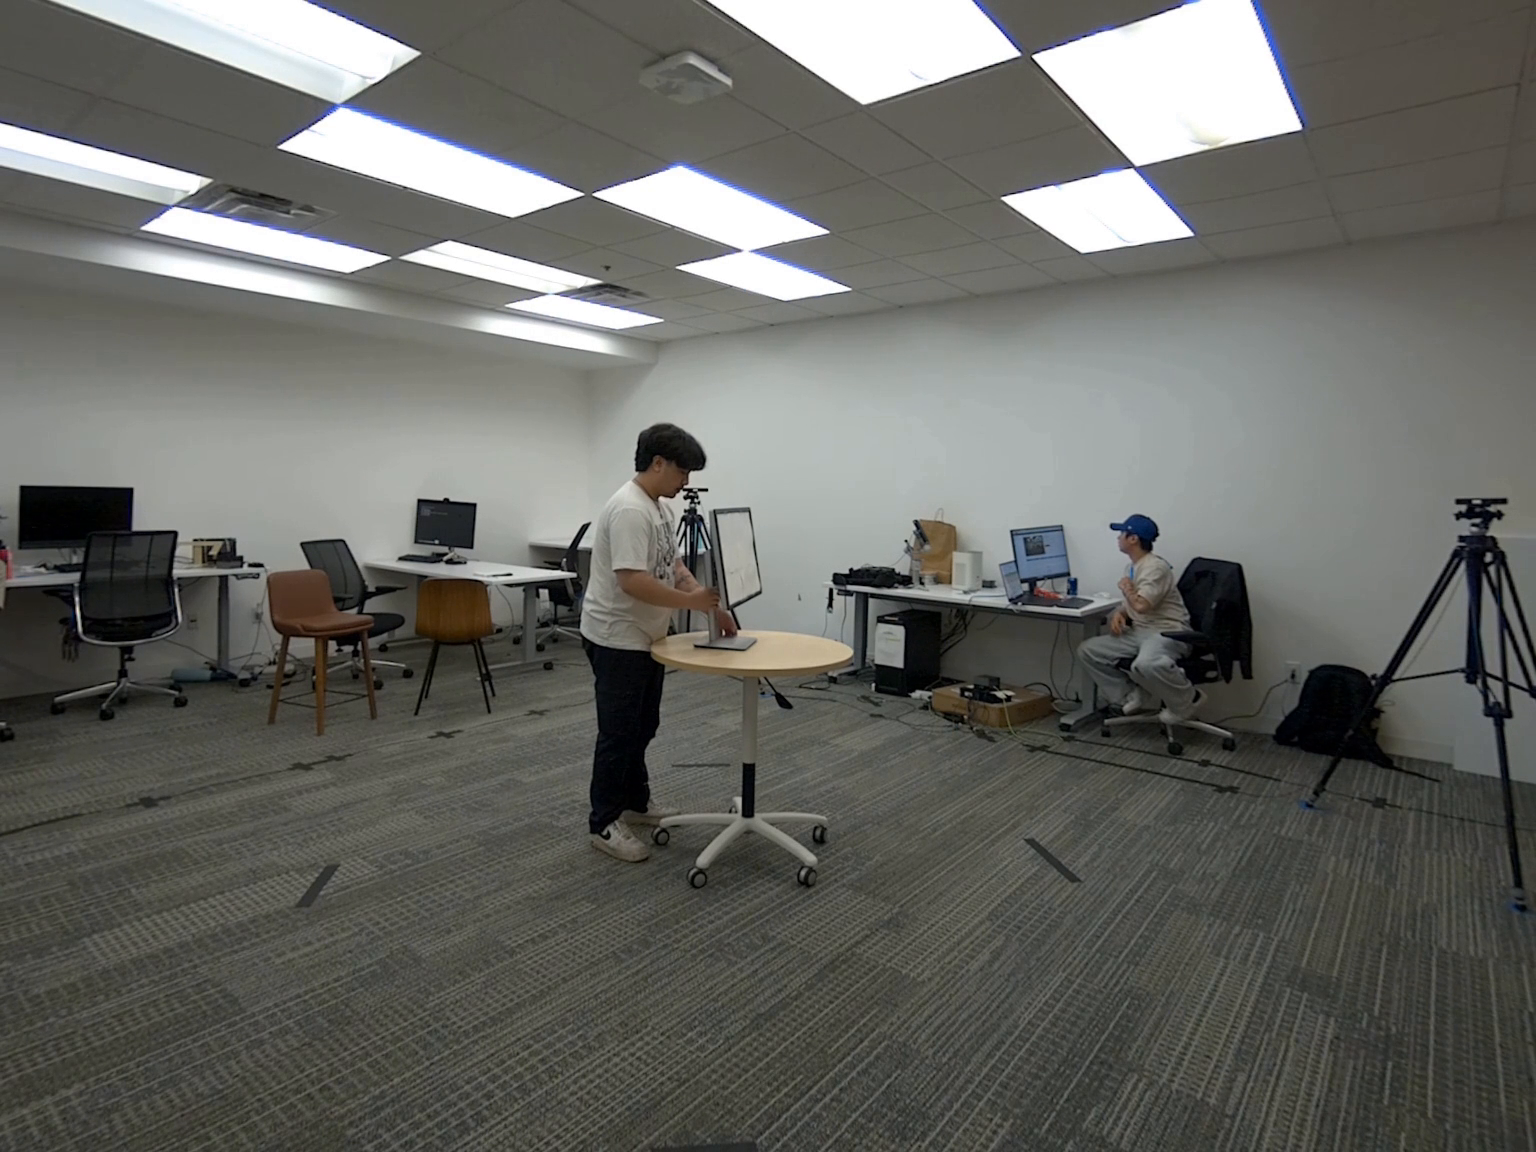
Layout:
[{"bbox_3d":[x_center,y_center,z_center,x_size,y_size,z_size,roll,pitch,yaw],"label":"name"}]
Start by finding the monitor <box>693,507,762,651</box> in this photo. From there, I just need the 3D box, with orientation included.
[{"bbox_3d":[-0.190,0.007,3.295,0.213,0.553,0.558,-3,3,13],"label":"monitor"}]
